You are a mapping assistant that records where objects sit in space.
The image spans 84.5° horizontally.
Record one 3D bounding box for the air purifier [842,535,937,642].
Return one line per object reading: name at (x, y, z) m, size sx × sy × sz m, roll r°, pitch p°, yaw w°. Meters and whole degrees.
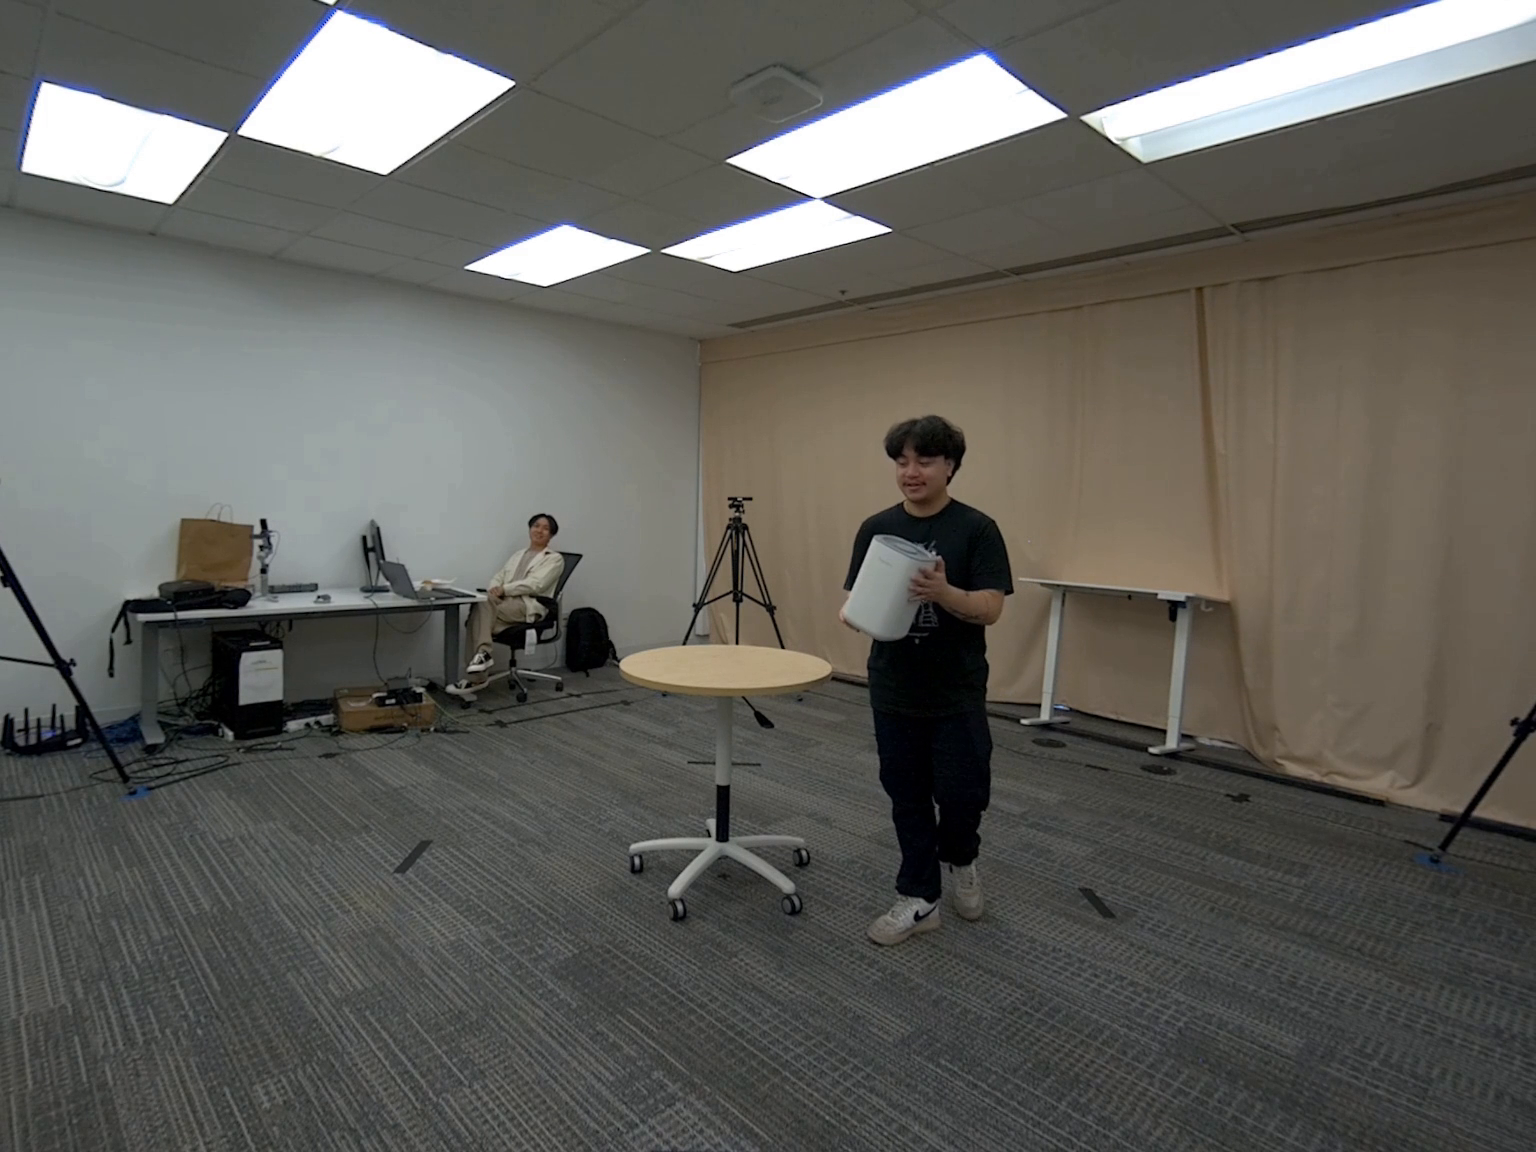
air purifier at (0.342, 0.037, 2.412) m, size 0.176 × 0.264 × 0.168 m, roll 32°, pitch 18°, yaw 31°
